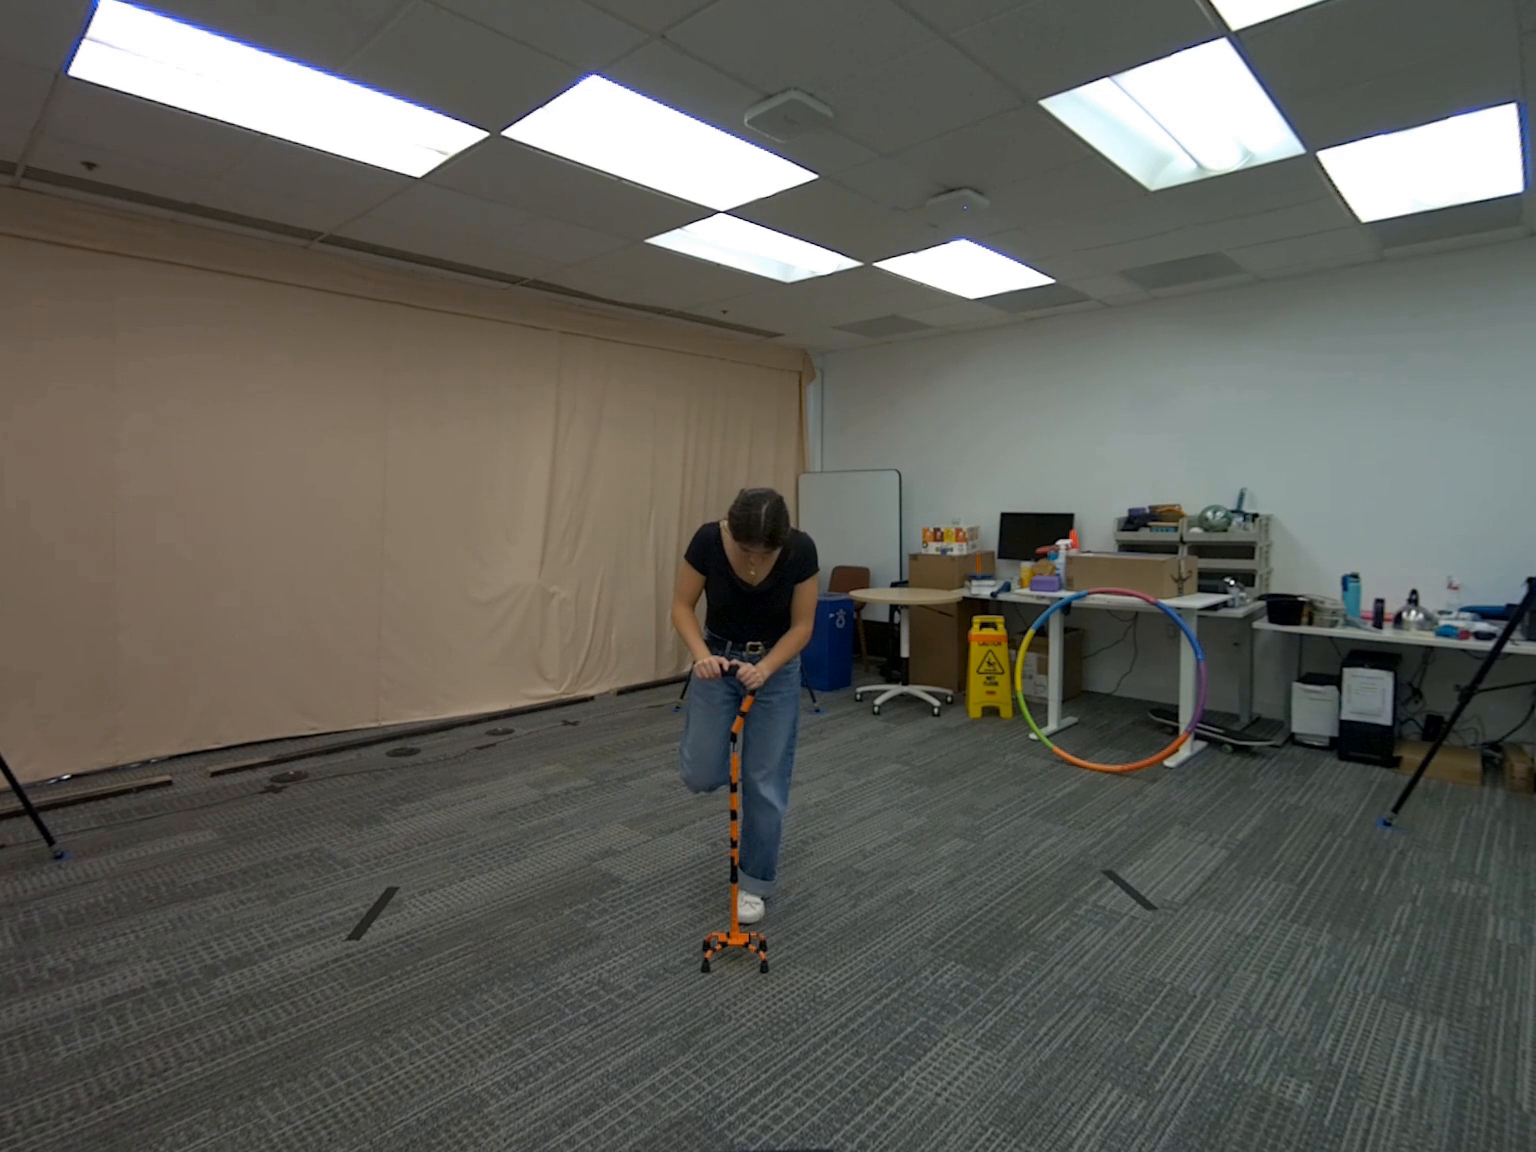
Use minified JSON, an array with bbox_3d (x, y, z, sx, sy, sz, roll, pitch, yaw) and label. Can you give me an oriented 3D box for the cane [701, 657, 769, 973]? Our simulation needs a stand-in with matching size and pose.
[{"bbox_3d":[-0.091,0.735,2.540,0.206,0.904,0.152,1,6,0],"label":"cane"}]
